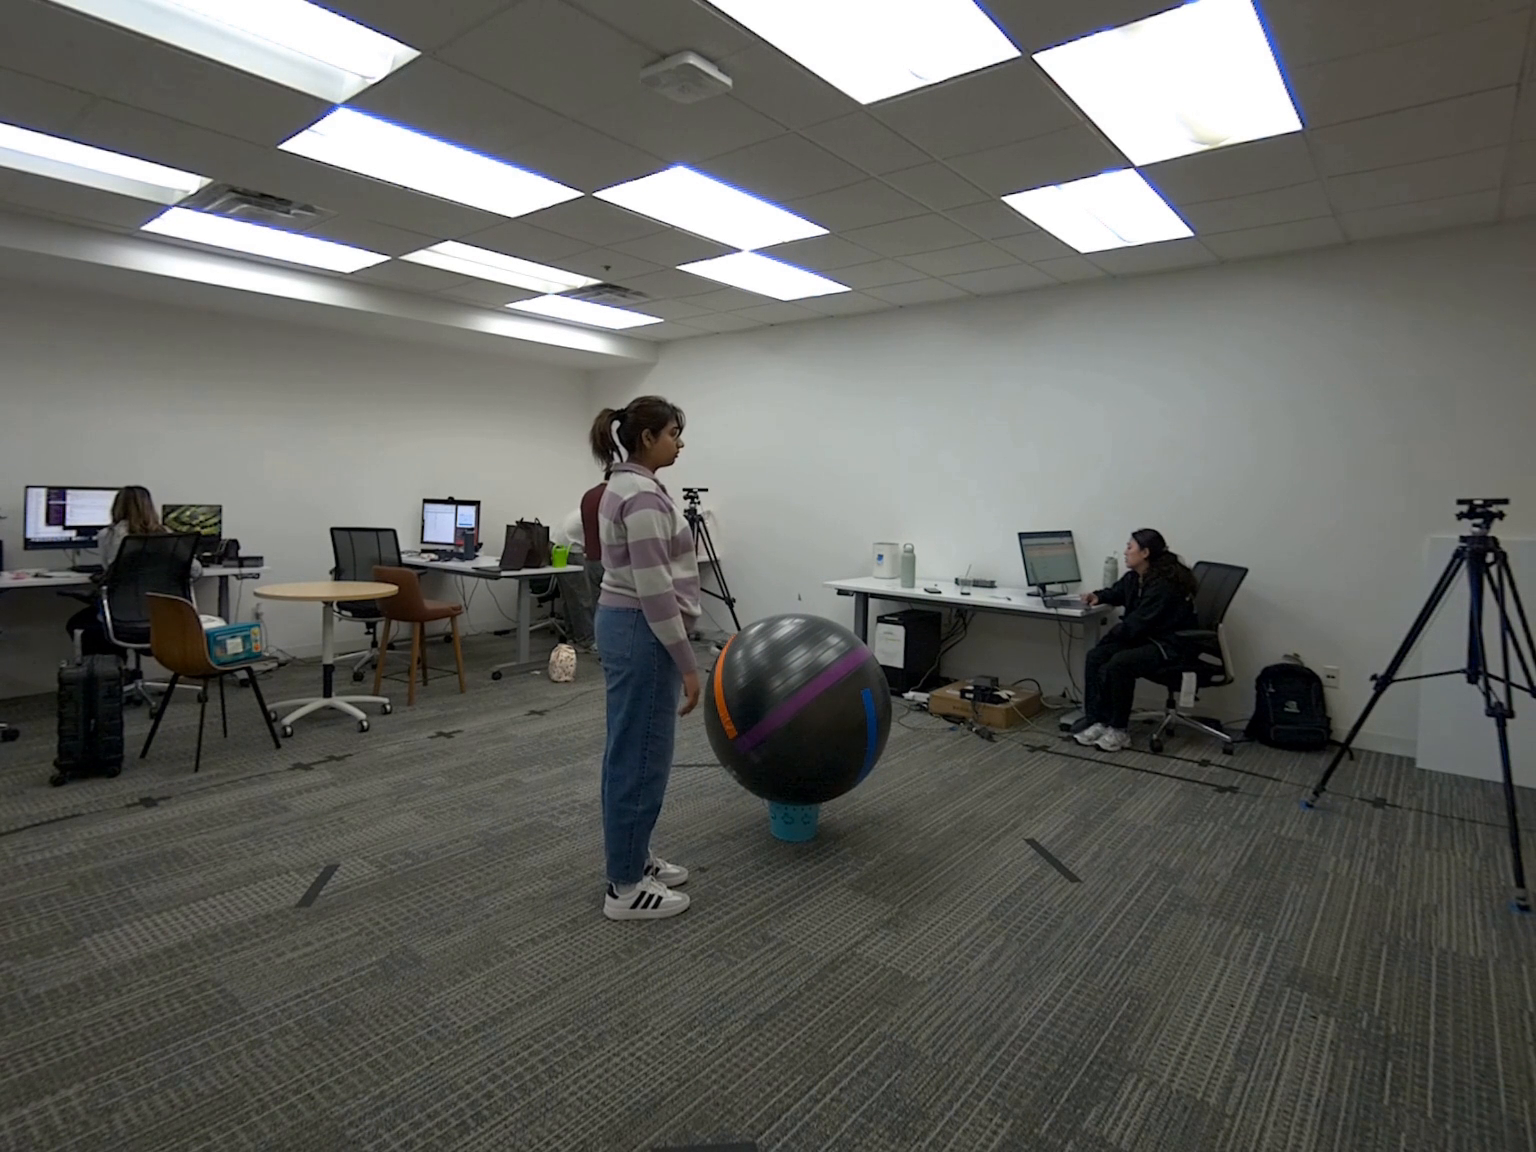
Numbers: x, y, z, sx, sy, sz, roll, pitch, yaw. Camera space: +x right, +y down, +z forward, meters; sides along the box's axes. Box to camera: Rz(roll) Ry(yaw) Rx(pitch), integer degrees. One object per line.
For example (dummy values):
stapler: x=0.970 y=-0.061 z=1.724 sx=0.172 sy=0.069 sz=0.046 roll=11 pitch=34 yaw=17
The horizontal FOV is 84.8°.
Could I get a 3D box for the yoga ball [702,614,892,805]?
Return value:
yoga ball: x=0.116 y=0.540 z=3.455 sx=0.757 sy=0.756 sz=0.761 roll=1 pitch=4 yaw=-2
